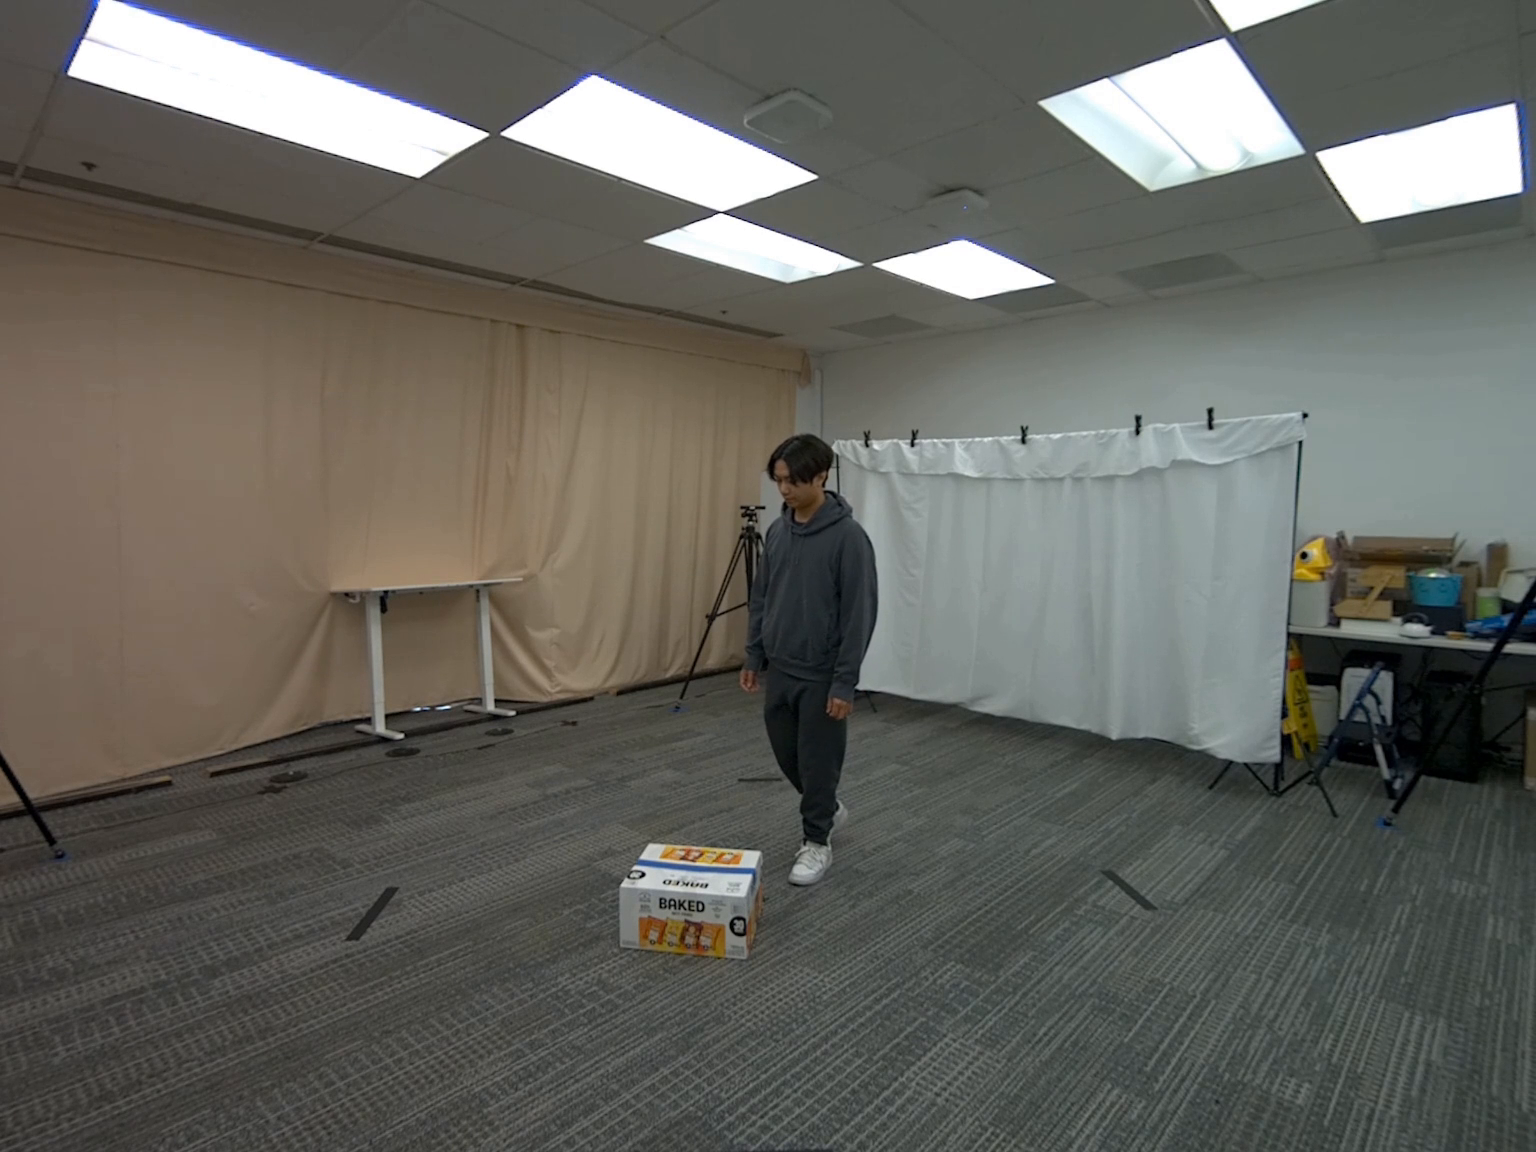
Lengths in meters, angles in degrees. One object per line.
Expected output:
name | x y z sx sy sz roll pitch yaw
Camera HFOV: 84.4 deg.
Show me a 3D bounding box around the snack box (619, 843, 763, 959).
snack box | -0.240 1.062 2.768 0.410 0.205 0.337 0 4 10
